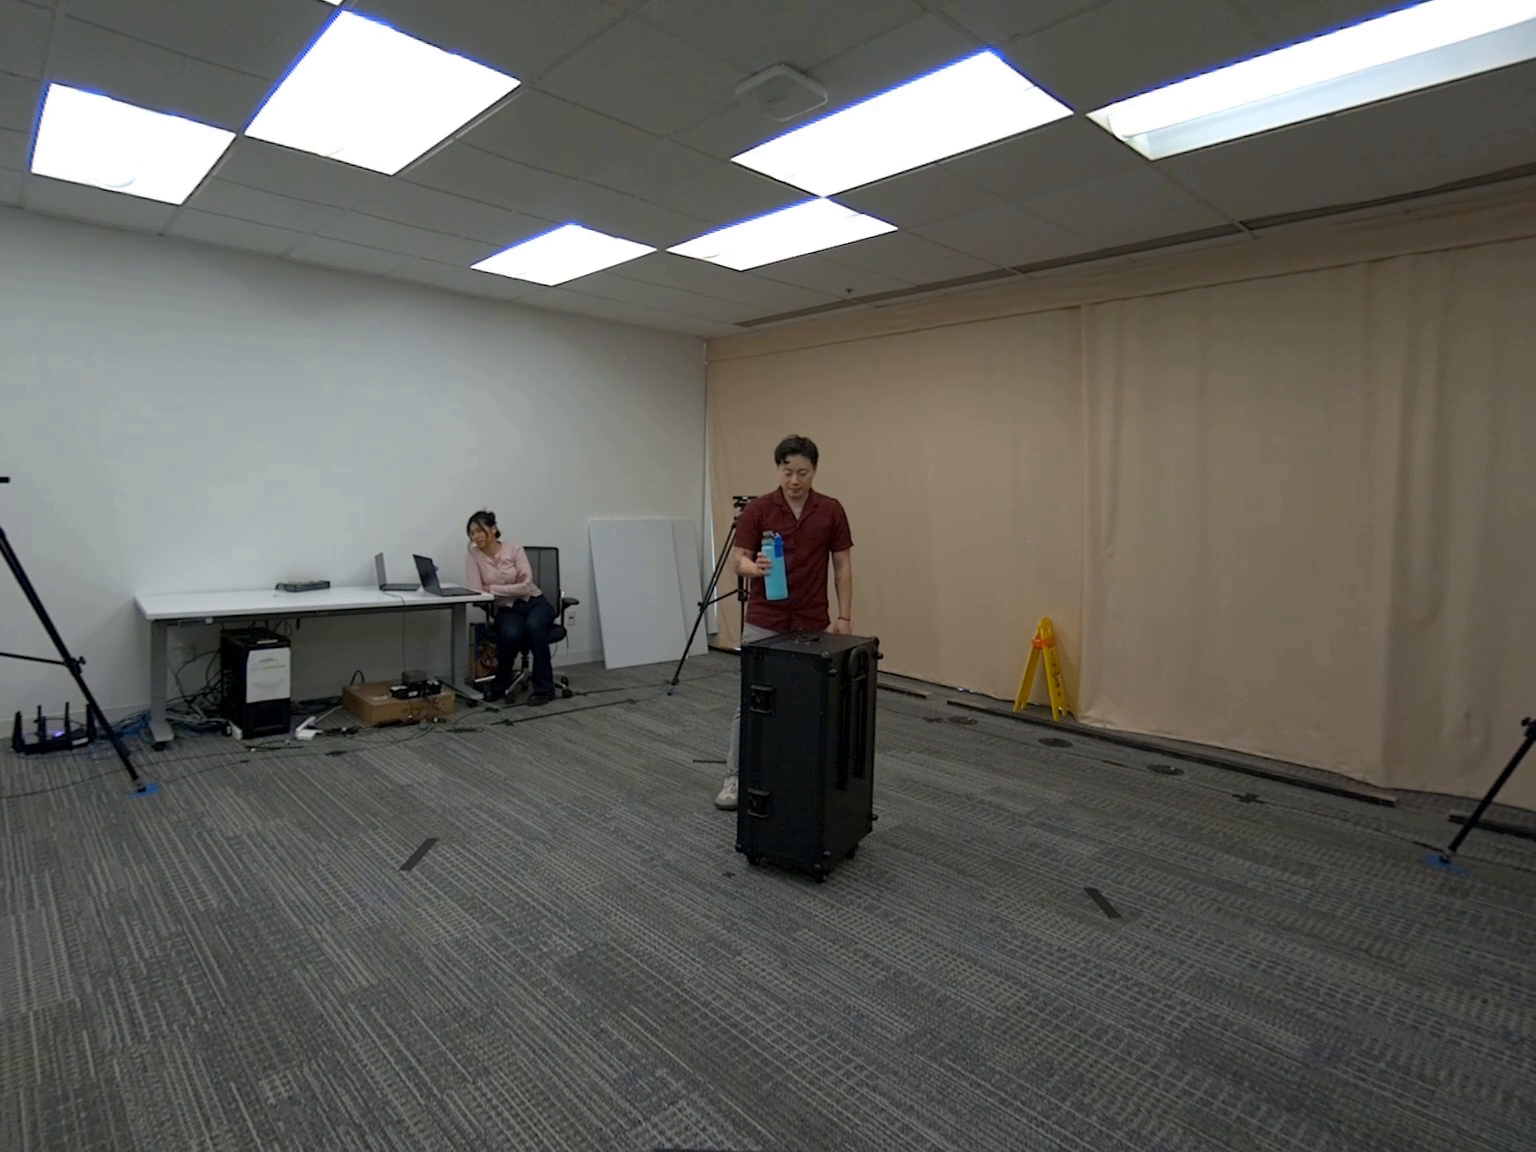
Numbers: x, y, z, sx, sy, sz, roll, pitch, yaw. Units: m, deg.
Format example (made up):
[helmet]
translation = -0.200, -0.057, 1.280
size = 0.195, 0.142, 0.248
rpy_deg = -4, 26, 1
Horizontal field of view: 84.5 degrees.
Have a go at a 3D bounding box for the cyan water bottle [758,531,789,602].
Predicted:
[cyan water bottle]
translation = 0.012, -0.048, 3.544
size = 0.092, 0.282, 0.093
rpy_deg = -3, 6, -1
